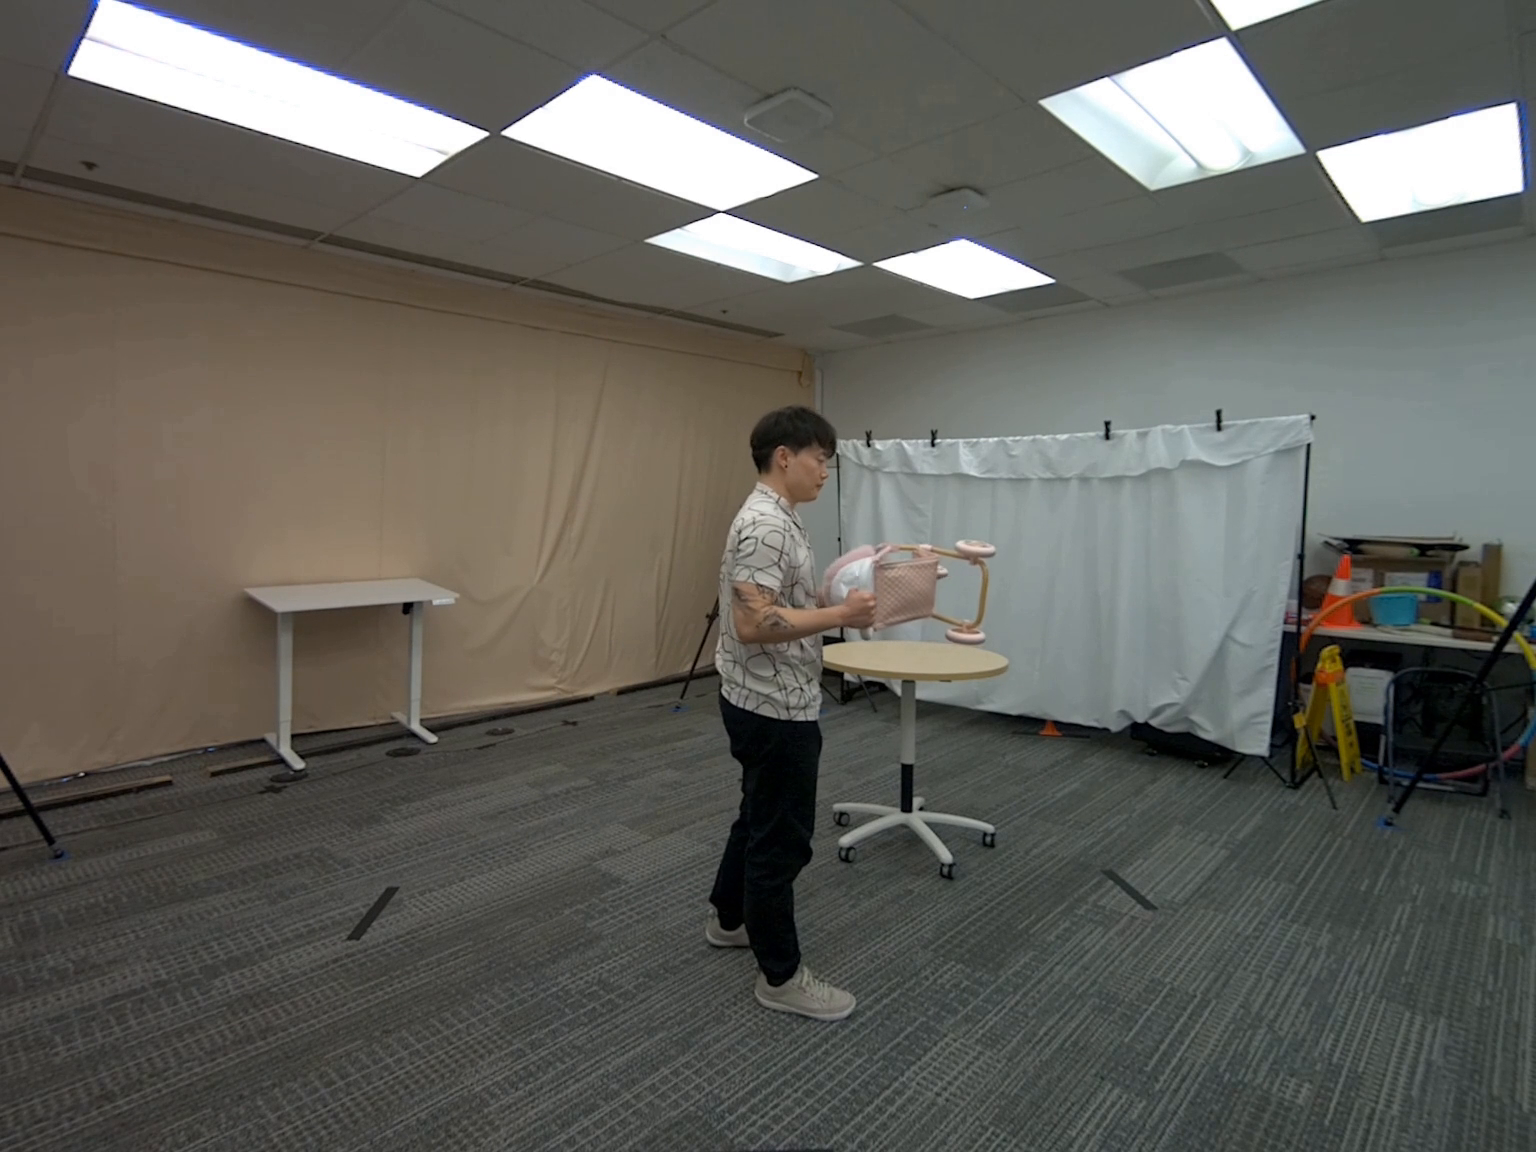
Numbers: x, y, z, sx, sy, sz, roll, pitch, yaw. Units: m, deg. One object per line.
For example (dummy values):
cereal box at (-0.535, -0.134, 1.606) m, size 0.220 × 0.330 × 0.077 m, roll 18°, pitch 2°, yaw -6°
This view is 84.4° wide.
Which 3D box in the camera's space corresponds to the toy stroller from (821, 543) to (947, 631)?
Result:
toy stroller at (0.381, 0.029, 2.352) m, size 0.521 × 0.279 × 0.352 m, roll -3°, pitch 15°, yaw -28°
